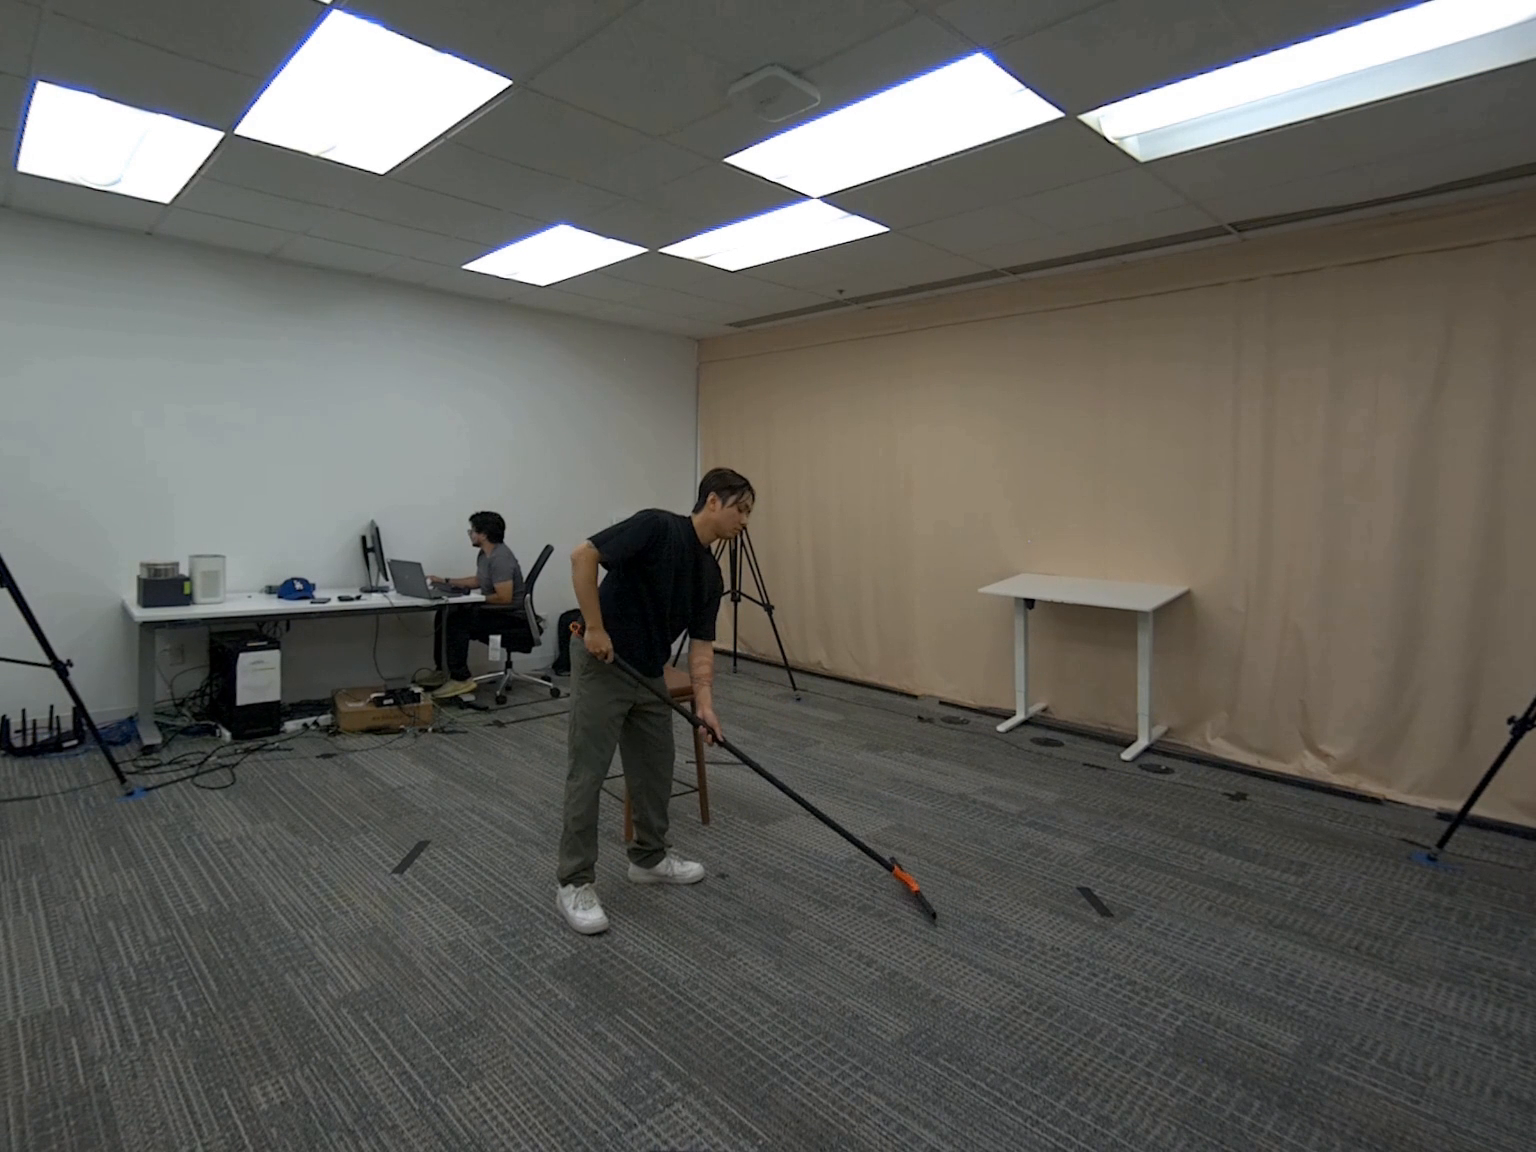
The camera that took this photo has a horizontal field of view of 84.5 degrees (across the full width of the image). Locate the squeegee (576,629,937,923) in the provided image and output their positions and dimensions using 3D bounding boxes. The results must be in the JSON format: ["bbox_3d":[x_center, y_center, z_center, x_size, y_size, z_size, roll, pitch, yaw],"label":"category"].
[{"bbox_3d":[-0.058,0.643,2.889,1.524,0.053,0.441,38,-2,-8],"label":"squeegee"}]
